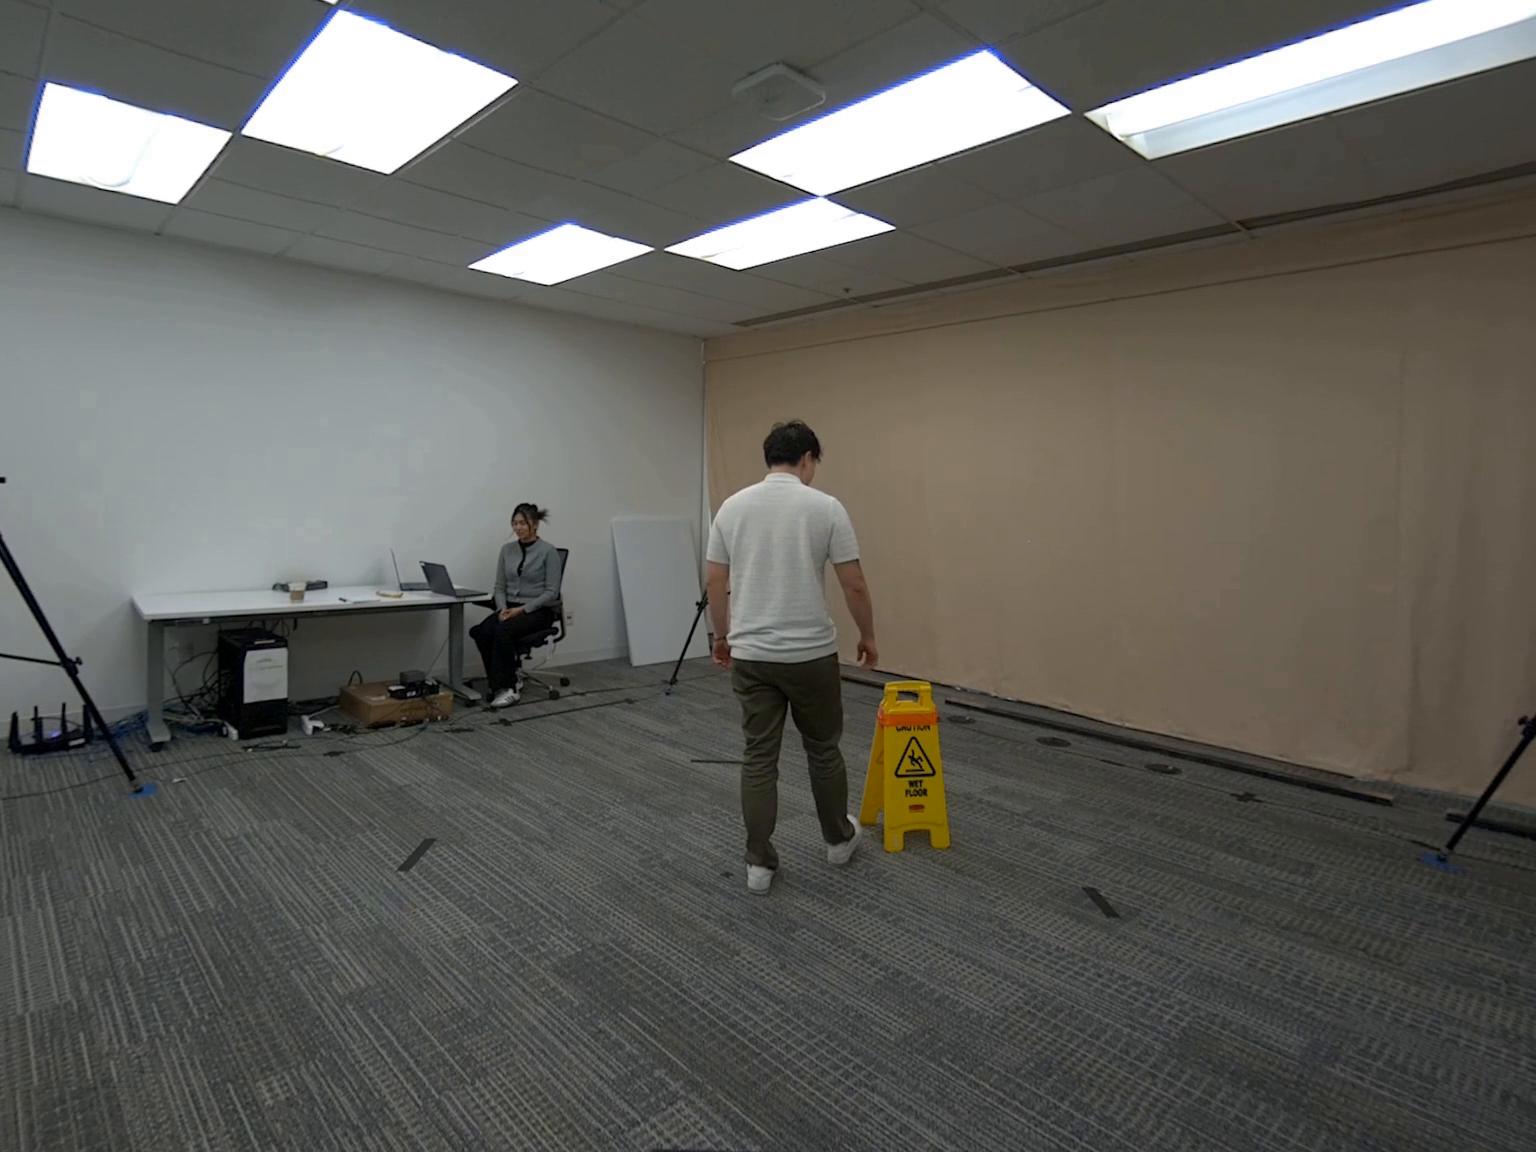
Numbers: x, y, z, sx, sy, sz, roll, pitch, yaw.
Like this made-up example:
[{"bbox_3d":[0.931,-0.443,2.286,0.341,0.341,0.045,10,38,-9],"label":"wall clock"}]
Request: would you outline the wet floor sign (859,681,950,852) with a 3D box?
[{"bbox_3d":[0.565,0.760,3.499,0.279,0.644,0.294,1,3,-15],"label":"wet floor sign"}]
